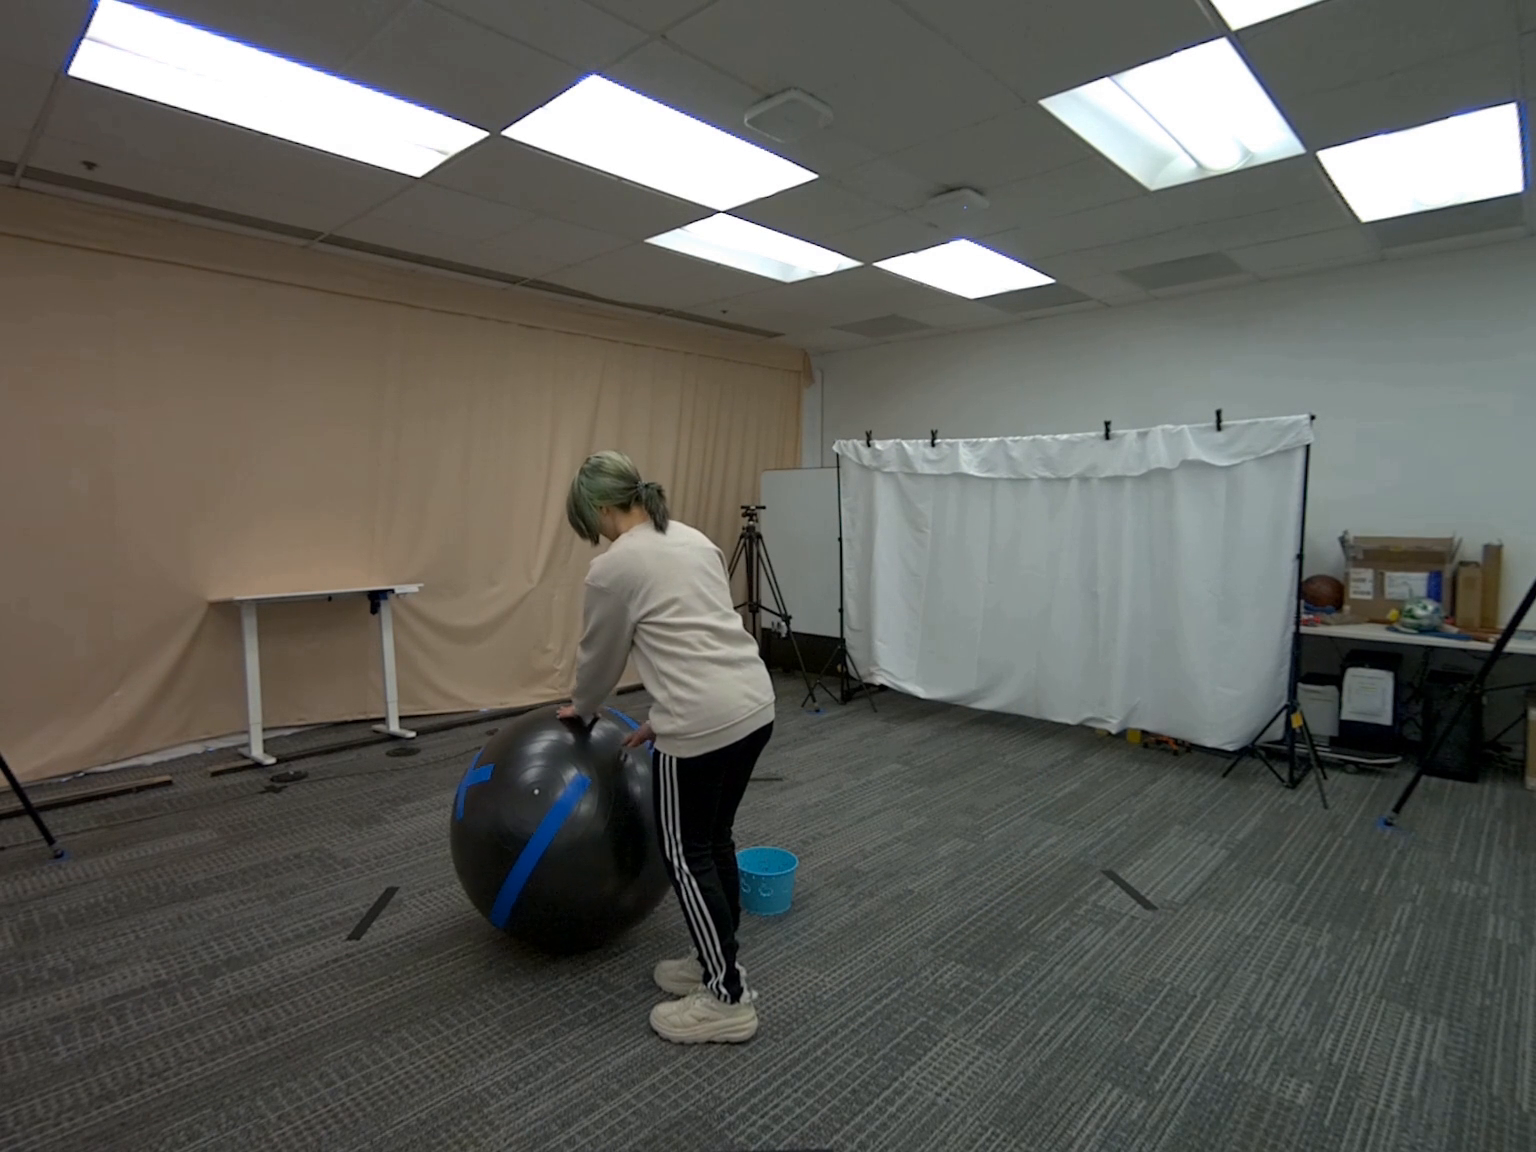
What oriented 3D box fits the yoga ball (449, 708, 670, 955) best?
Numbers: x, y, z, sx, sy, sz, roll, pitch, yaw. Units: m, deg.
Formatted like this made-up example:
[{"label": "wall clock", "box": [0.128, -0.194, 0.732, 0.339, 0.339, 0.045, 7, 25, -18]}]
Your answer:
[{"label": "yoga ball", "box": [-0.638, 0.799, 2.734, 0.757, 0.756, 0.760, 0, 4, -2]}]
